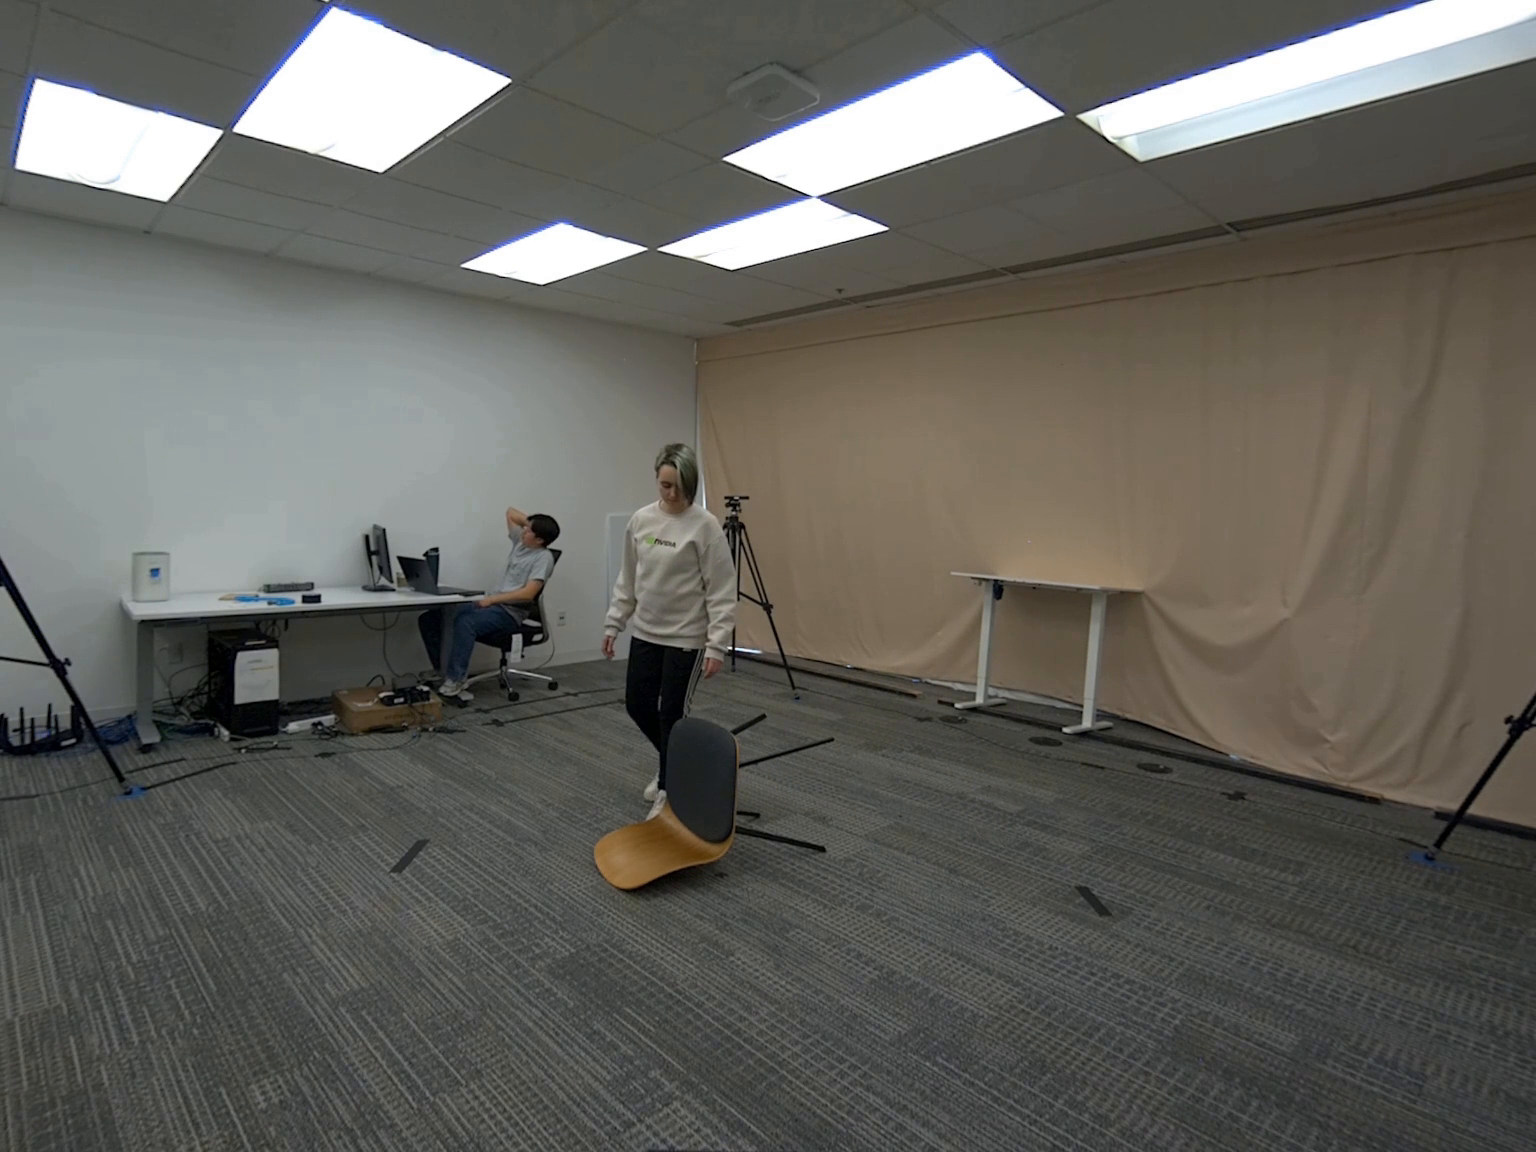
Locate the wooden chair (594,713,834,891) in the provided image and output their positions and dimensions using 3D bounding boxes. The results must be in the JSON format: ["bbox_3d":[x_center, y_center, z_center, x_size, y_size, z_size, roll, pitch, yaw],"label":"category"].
[{"bbox_3d":[-0.232,0.829,3.261,0.859,0.521,0.490,-4,6,-36],"label":"wooden chair"}]
